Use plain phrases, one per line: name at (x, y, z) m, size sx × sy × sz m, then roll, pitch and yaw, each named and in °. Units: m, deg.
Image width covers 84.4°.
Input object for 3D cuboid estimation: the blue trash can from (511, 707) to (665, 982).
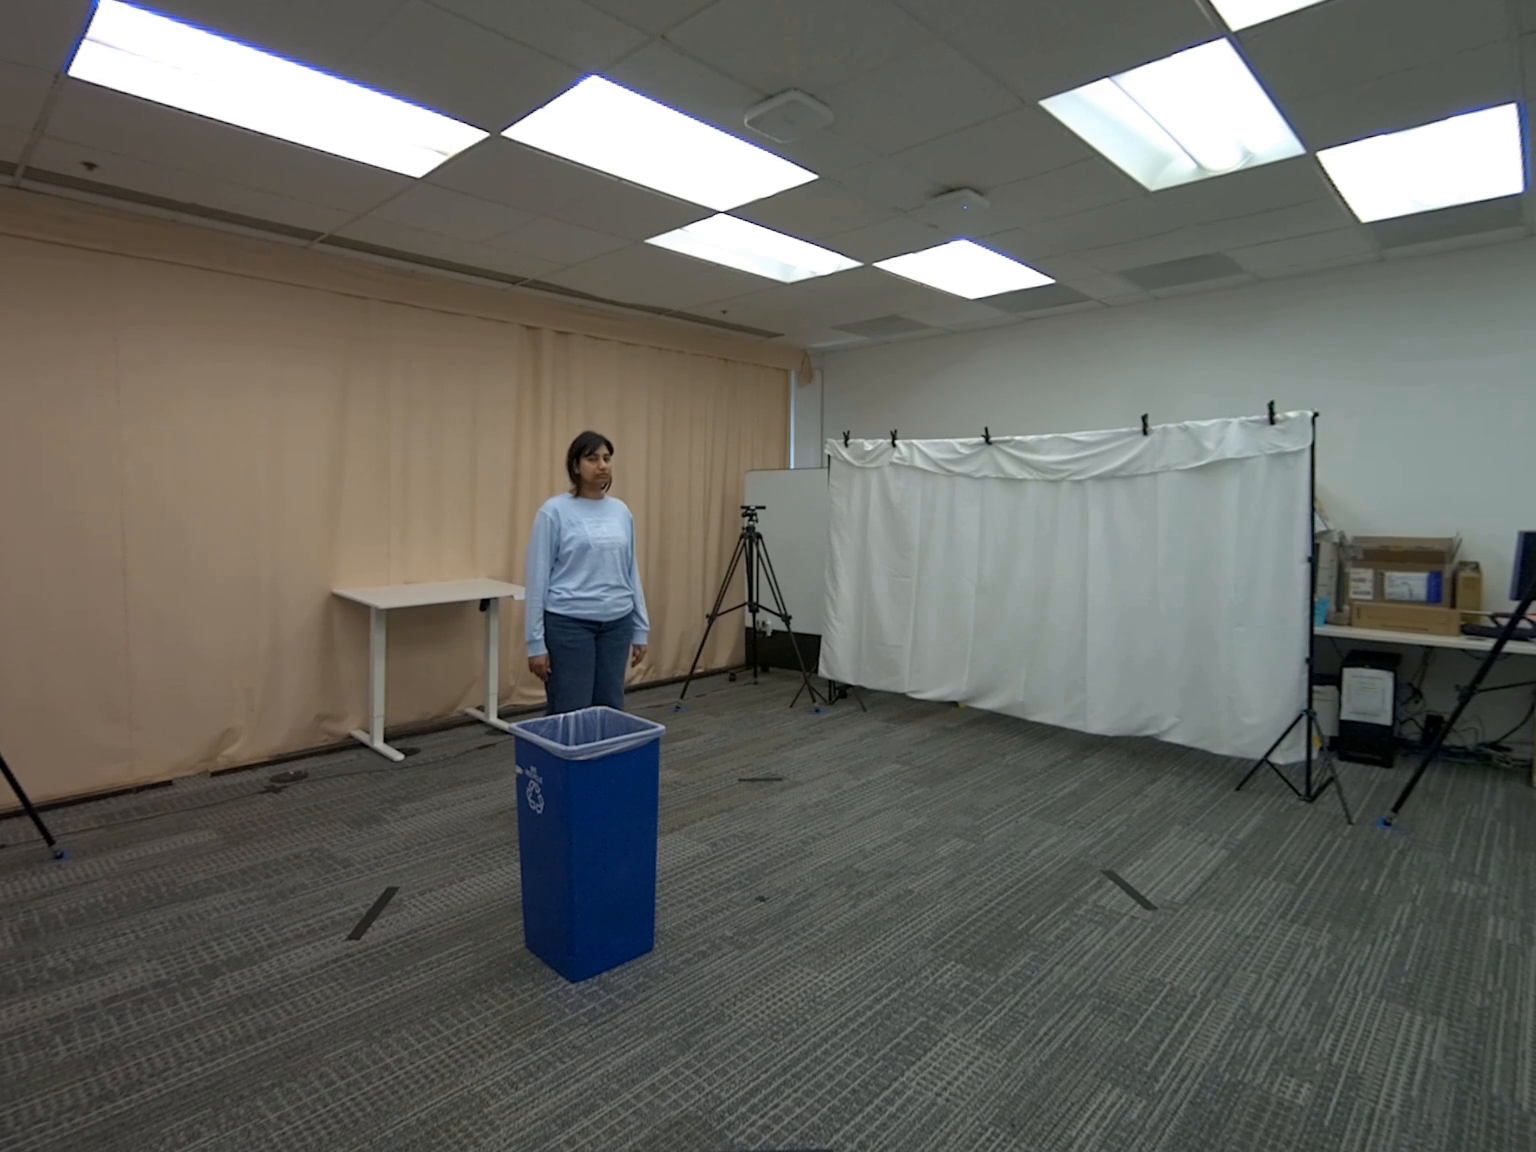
blue trash can at (-0.555, 0.821, 2.635) m, size 0.366 × 0.712 × 0.386 m, roll -3°, pitch 5°, yaw -43°
